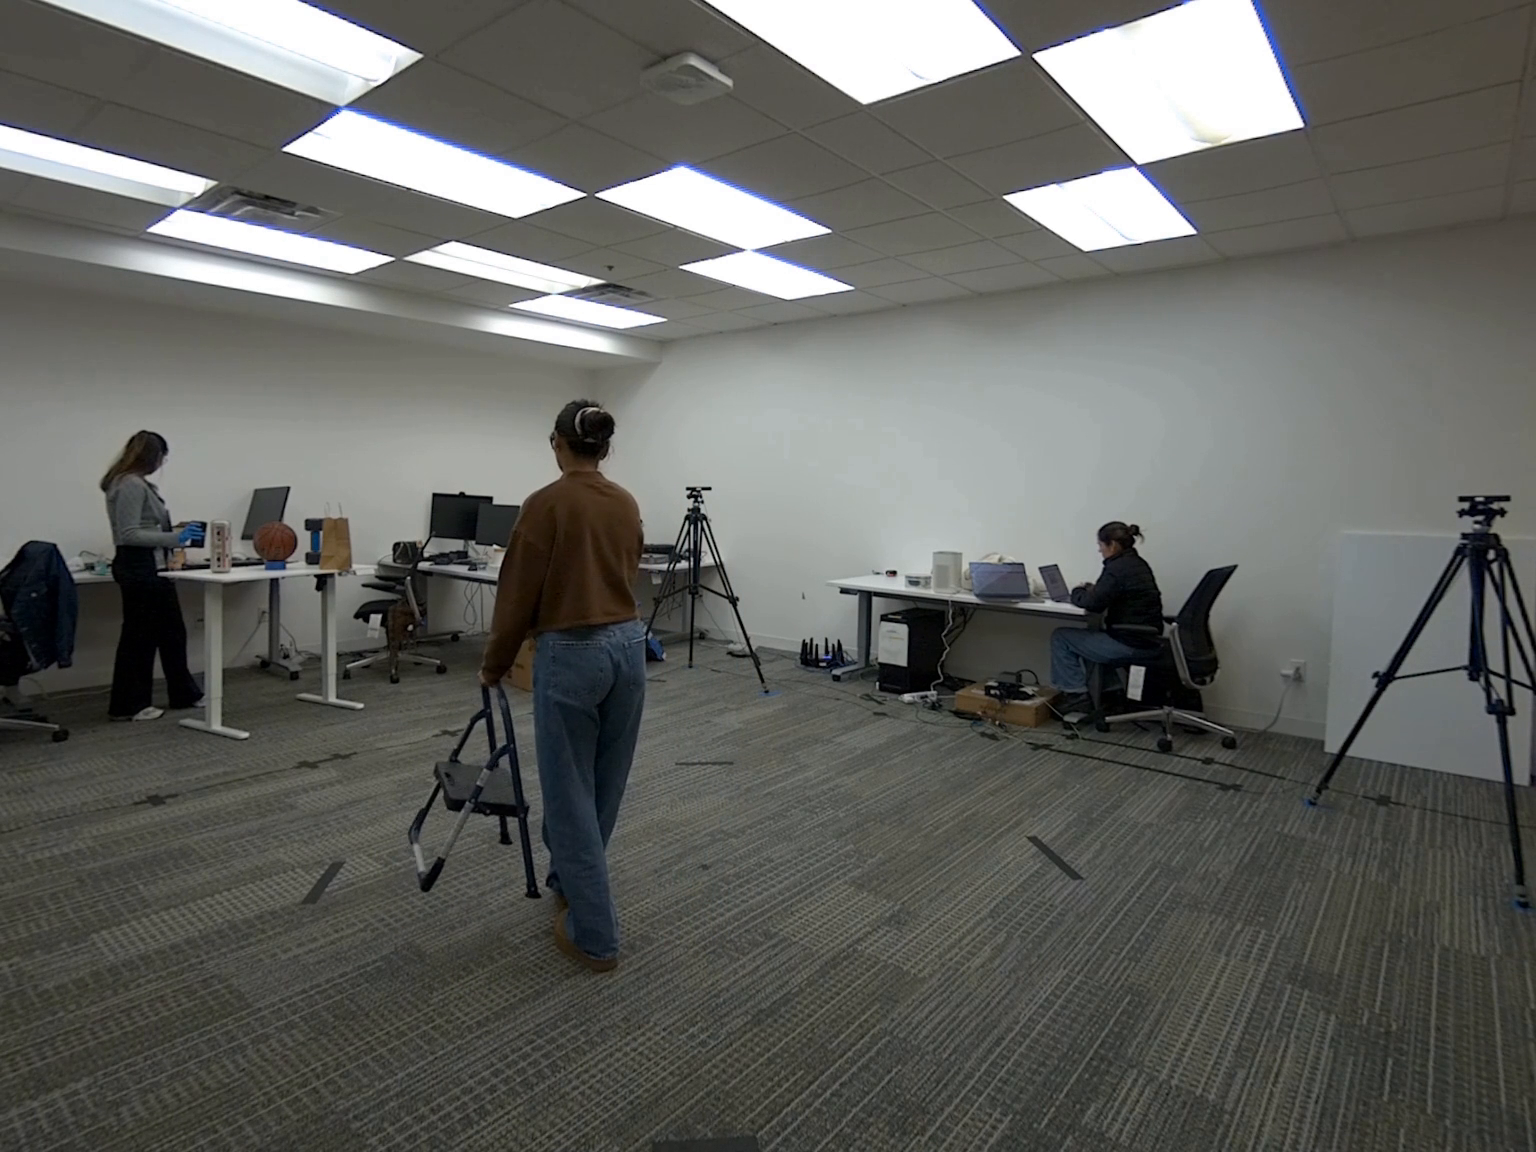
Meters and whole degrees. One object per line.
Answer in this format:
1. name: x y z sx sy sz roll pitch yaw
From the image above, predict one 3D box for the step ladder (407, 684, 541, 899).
1. step ladder: -0.875 0.609 2.657 0.338 0.607 0.444 14 -2 -29
